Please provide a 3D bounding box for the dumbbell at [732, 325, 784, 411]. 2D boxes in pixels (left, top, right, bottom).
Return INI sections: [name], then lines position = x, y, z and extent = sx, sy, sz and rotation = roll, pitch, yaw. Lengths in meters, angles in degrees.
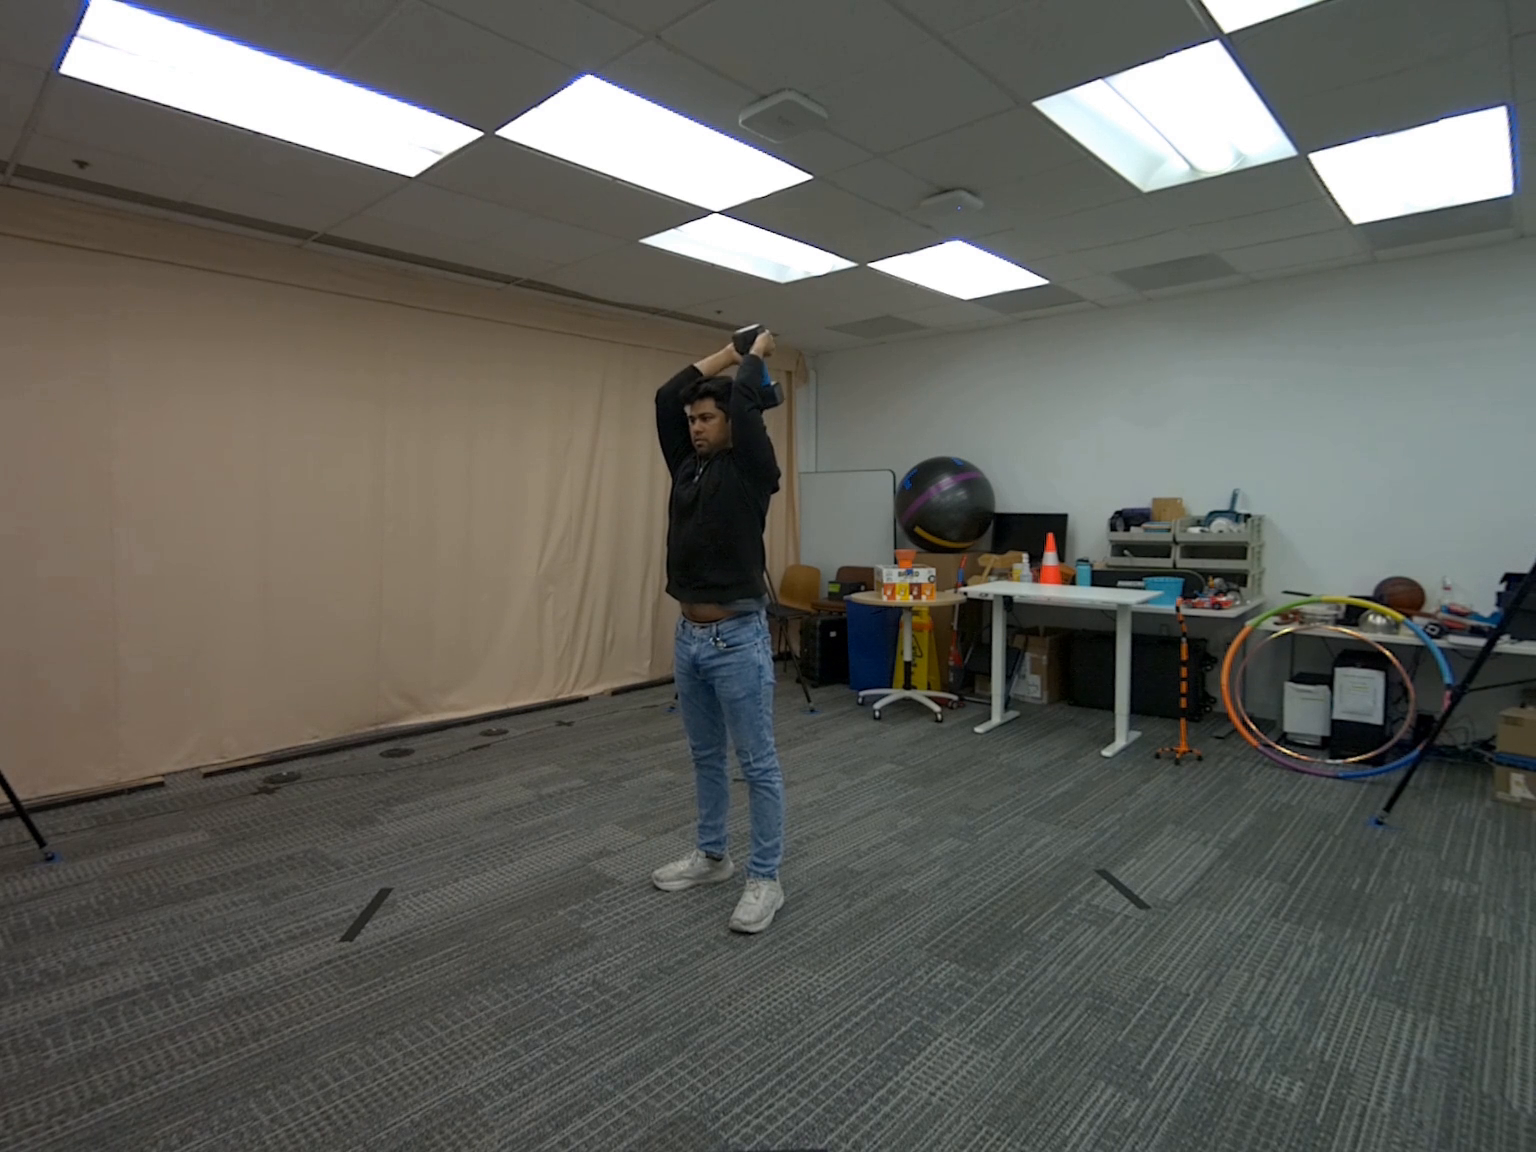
[dumbbell]
position = -0.035, -0.736, 3.025
extent = 0.107, 0.289, 0.127
rotation = -26, 18, -25
